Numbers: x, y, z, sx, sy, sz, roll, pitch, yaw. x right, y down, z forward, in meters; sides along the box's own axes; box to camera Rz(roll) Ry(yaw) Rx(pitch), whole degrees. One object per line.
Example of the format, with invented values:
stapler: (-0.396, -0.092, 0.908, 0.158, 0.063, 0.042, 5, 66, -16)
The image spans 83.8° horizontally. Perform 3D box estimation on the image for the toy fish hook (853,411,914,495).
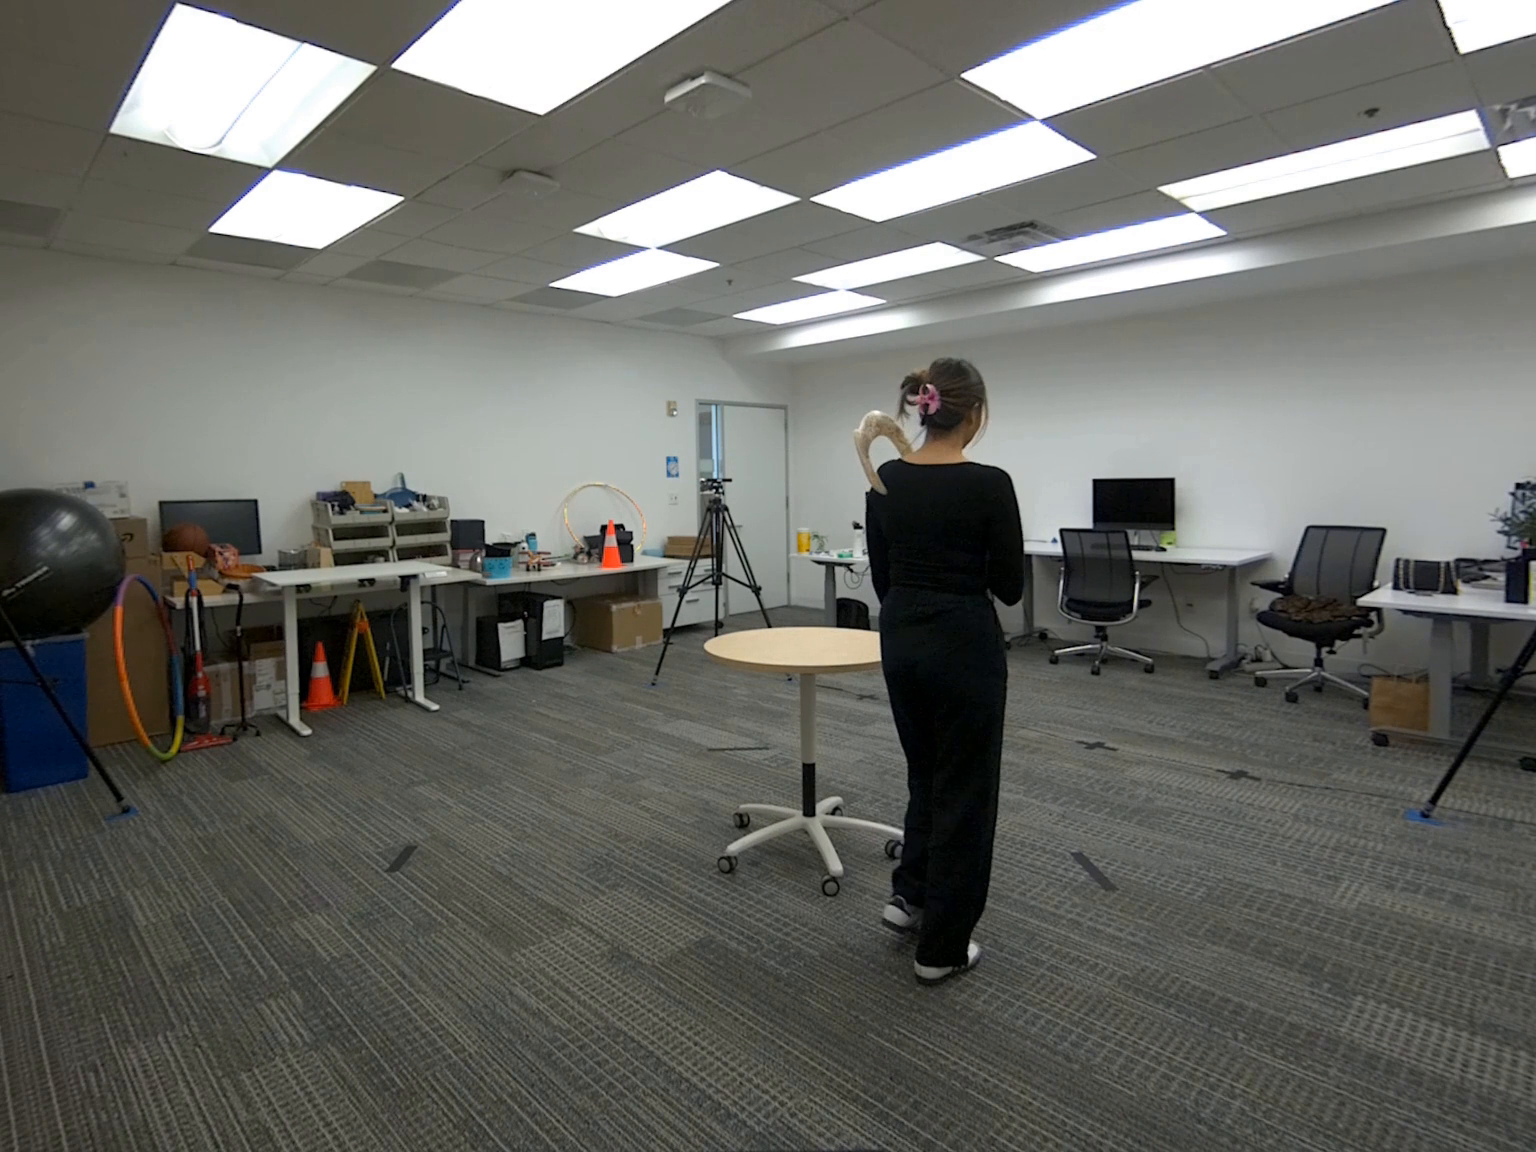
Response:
toy fish hook: (0.416, -0.251, 2.470, 0.049, 0.495, 0.225, -11, 34, 54)
